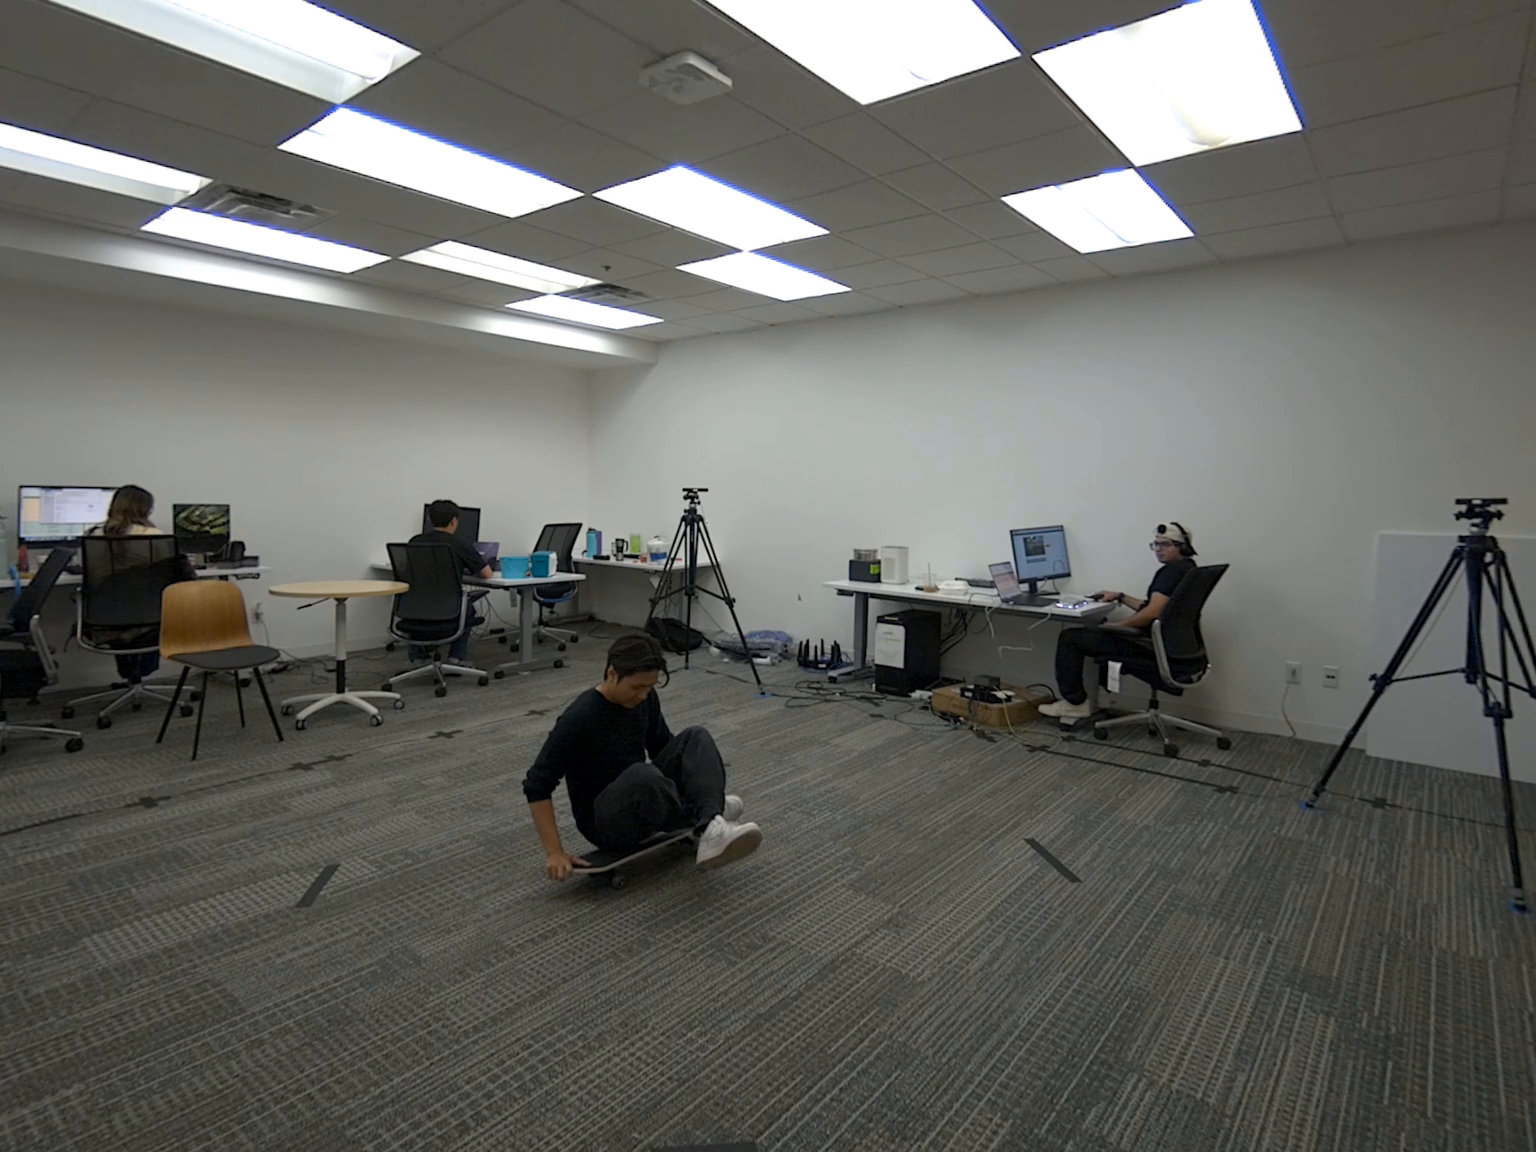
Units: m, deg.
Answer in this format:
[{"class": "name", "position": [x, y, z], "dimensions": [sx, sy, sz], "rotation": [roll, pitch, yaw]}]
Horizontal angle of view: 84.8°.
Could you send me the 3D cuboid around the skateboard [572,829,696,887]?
[{"class": "skateboard", "position": [-0.456, 1.016, 3.152], "dimensions": [0.199, 0.110, 0.763], "rotation": [-5, 2, 45]}]
